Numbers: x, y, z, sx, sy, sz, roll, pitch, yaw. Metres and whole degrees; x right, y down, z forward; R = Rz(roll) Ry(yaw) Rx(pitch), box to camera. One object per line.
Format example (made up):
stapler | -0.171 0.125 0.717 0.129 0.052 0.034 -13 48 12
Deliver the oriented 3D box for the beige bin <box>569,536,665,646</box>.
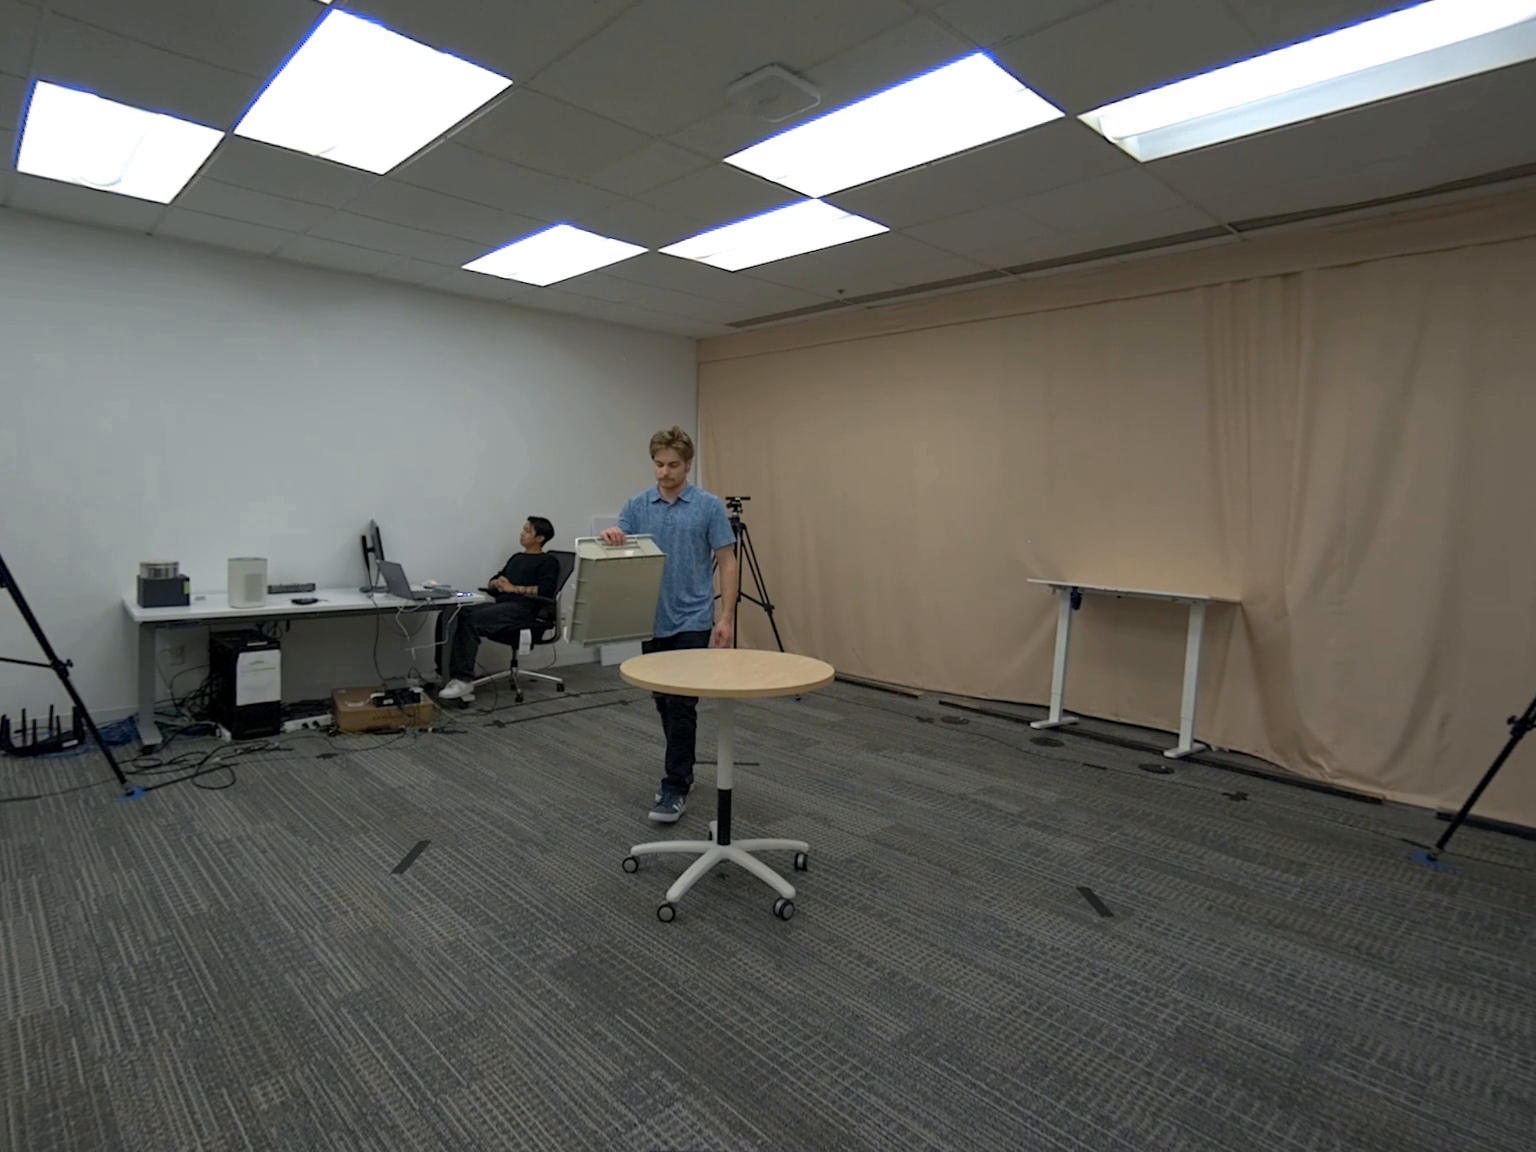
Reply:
beige bin | -0.663 0.063 3.491 0.370 0.417 0.195 -3 28 -32
